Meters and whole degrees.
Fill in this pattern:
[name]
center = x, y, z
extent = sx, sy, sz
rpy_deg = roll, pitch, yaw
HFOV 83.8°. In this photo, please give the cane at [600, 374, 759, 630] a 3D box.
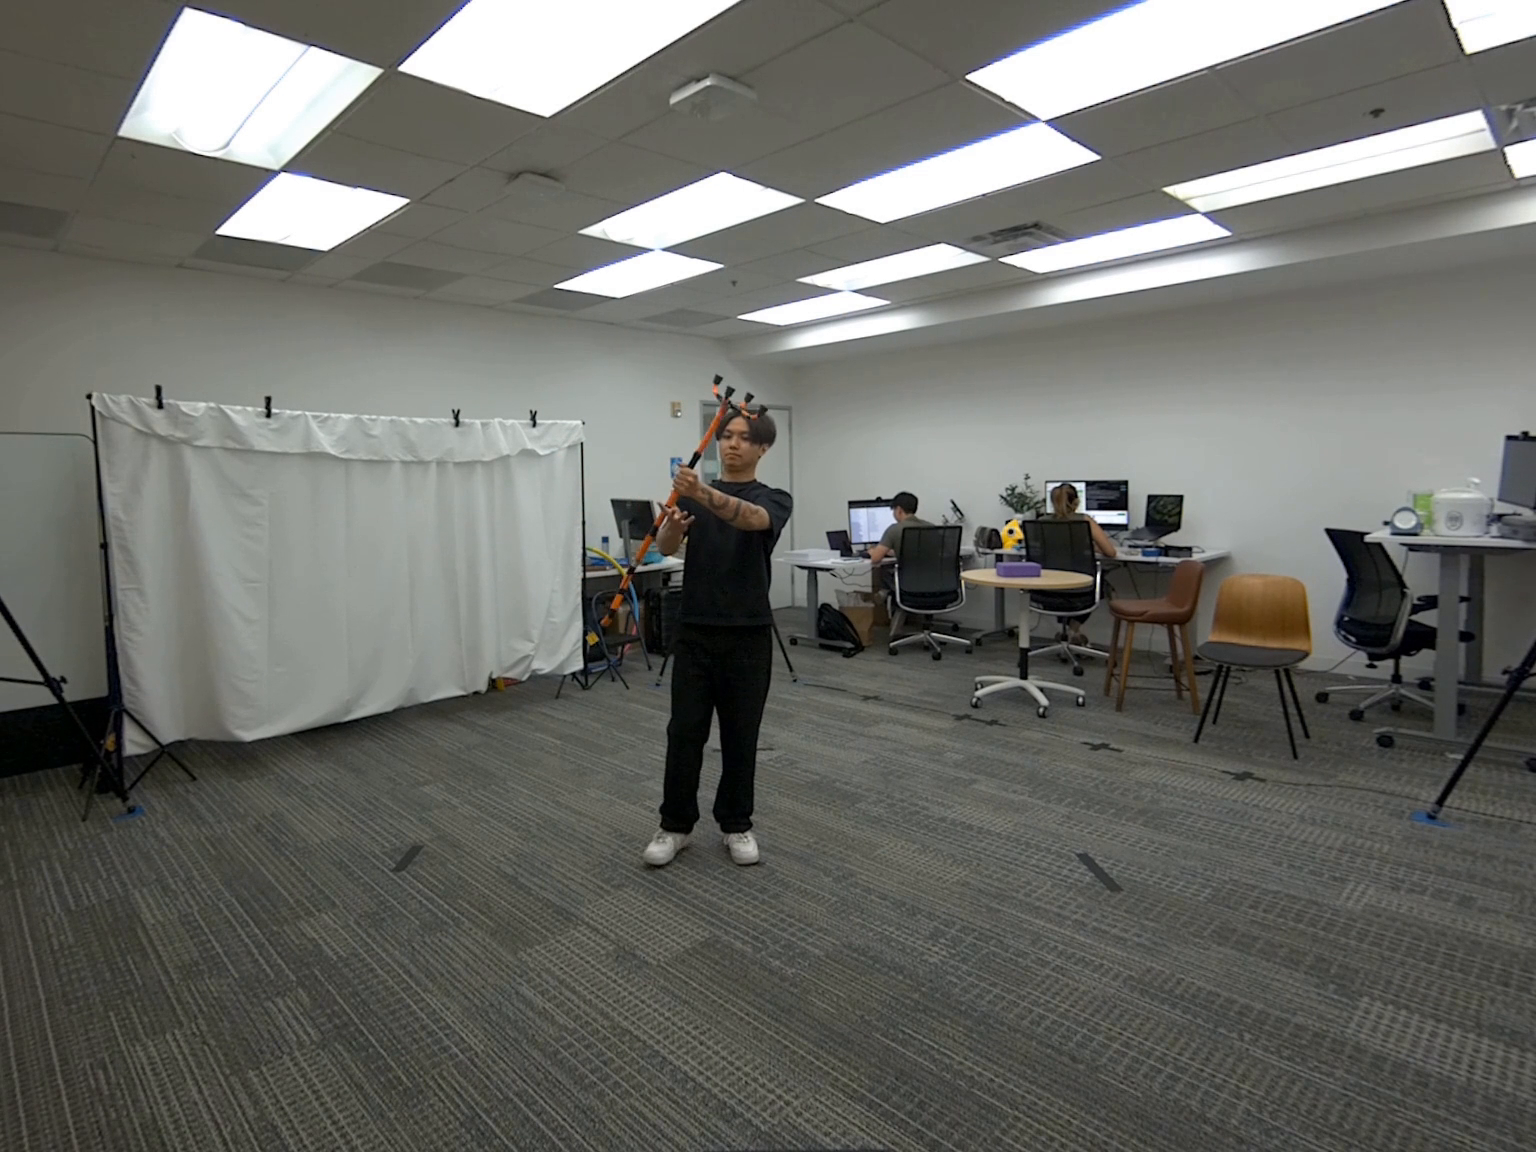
[cane]
center = -0.318, -0.203, 2.772
extent = 0.148, 0.904, 0.212
rpy_deg = 25, 13, -22
